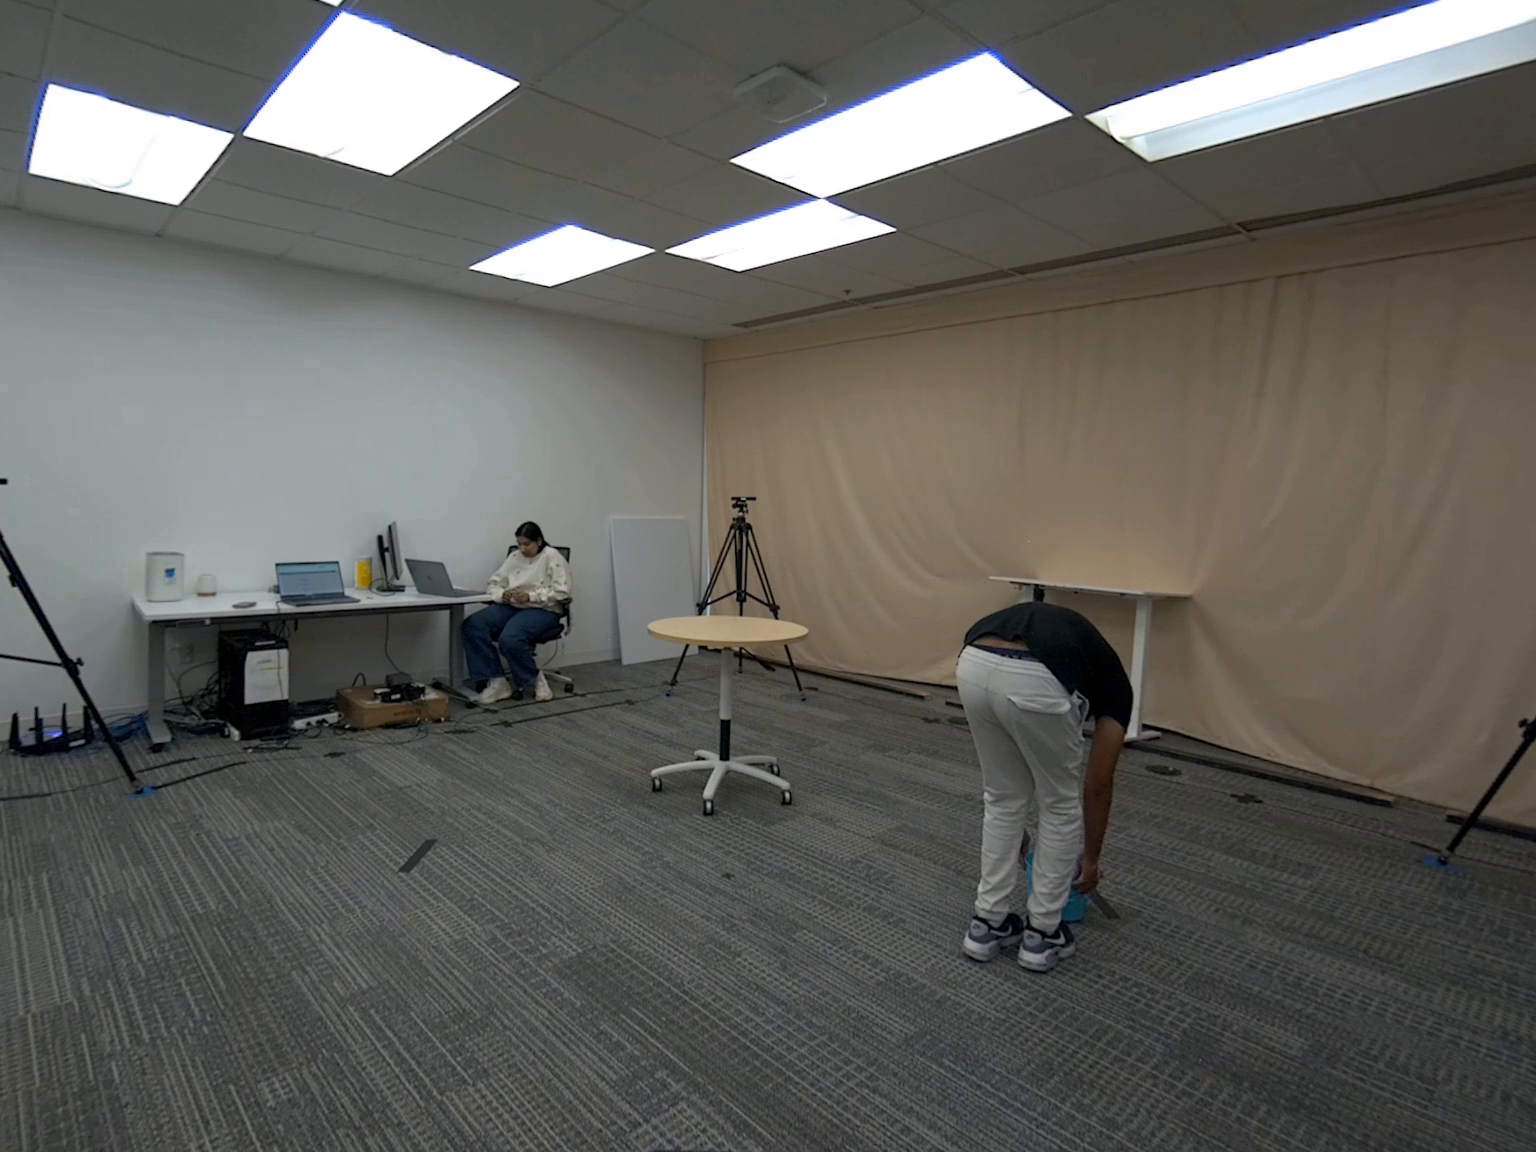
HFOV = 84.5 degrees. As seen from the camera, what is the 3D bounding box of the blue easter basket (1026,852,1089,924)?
[{"bbox_3d":[1.003,1.070,2.894,0.243,0.155,0.244,6,5,-2],"label":"blue easter basket"}]
